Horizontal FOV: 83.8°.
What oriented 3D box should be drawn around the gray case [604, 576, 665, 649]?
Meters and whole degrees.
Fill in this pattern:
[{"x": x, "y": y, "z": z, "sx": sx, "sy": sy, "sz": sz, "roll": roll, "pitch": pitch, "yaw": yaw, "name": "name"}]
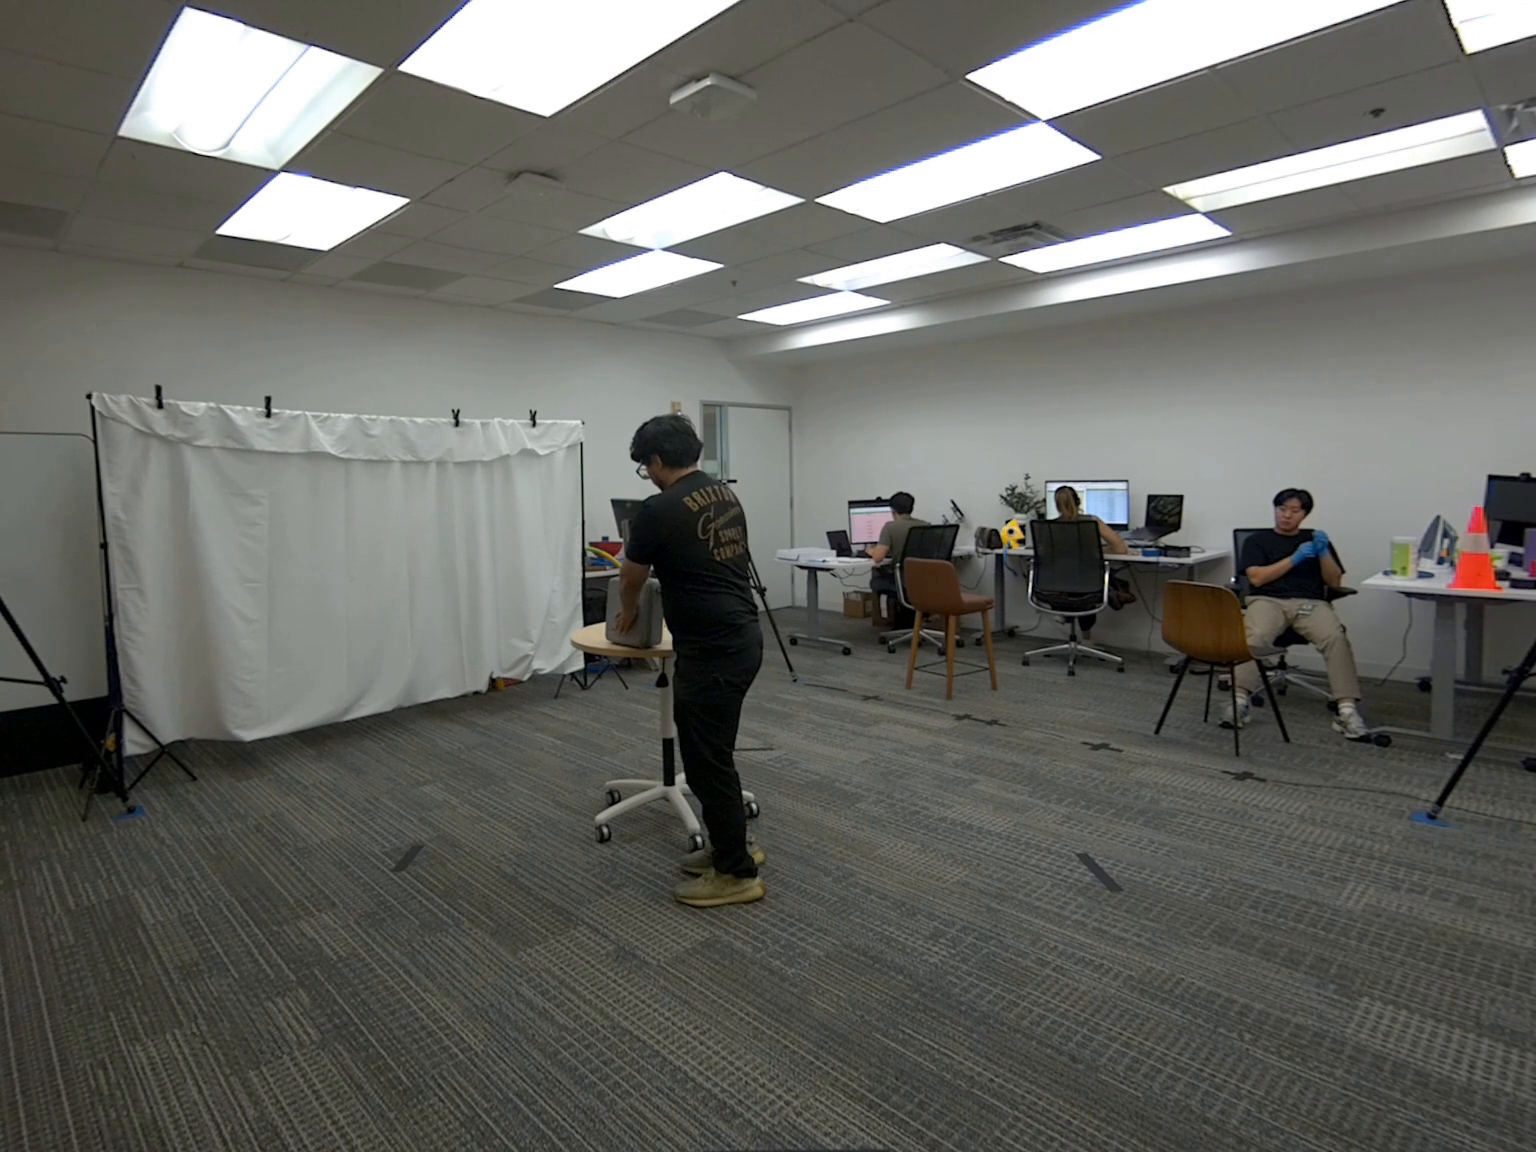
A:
[{"x": -0.503, "y": 0.129, "z": 3.244, "sx": 0.101, "sy": 0.261, "sz": 0.265, "roll": 4, "pitch": -1, "yaw": -42, "name": "gray case"}]
